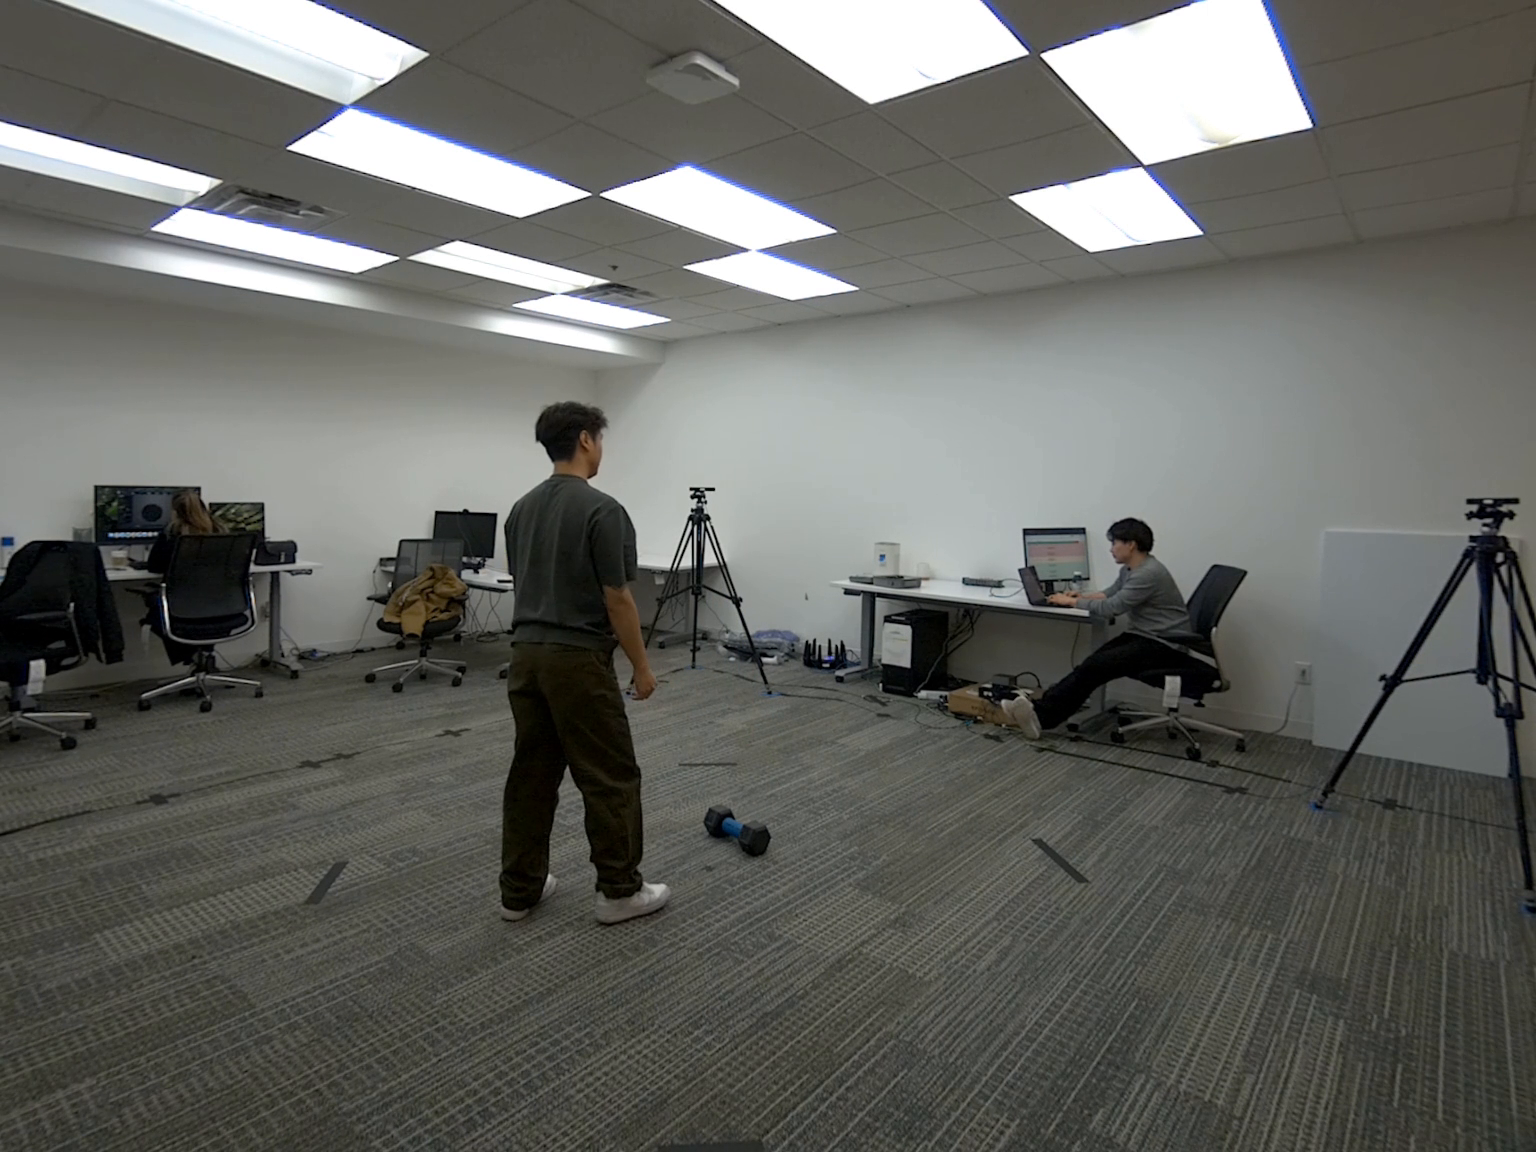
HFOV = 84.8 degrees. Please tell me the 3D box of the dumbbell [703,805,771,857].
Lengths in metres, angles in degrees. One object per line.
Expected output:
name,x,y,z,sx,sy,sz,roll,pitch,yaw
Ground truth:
dumbbell,-0.130,0.990,3.338,0.303,0.124,0.104,7,-25,49
